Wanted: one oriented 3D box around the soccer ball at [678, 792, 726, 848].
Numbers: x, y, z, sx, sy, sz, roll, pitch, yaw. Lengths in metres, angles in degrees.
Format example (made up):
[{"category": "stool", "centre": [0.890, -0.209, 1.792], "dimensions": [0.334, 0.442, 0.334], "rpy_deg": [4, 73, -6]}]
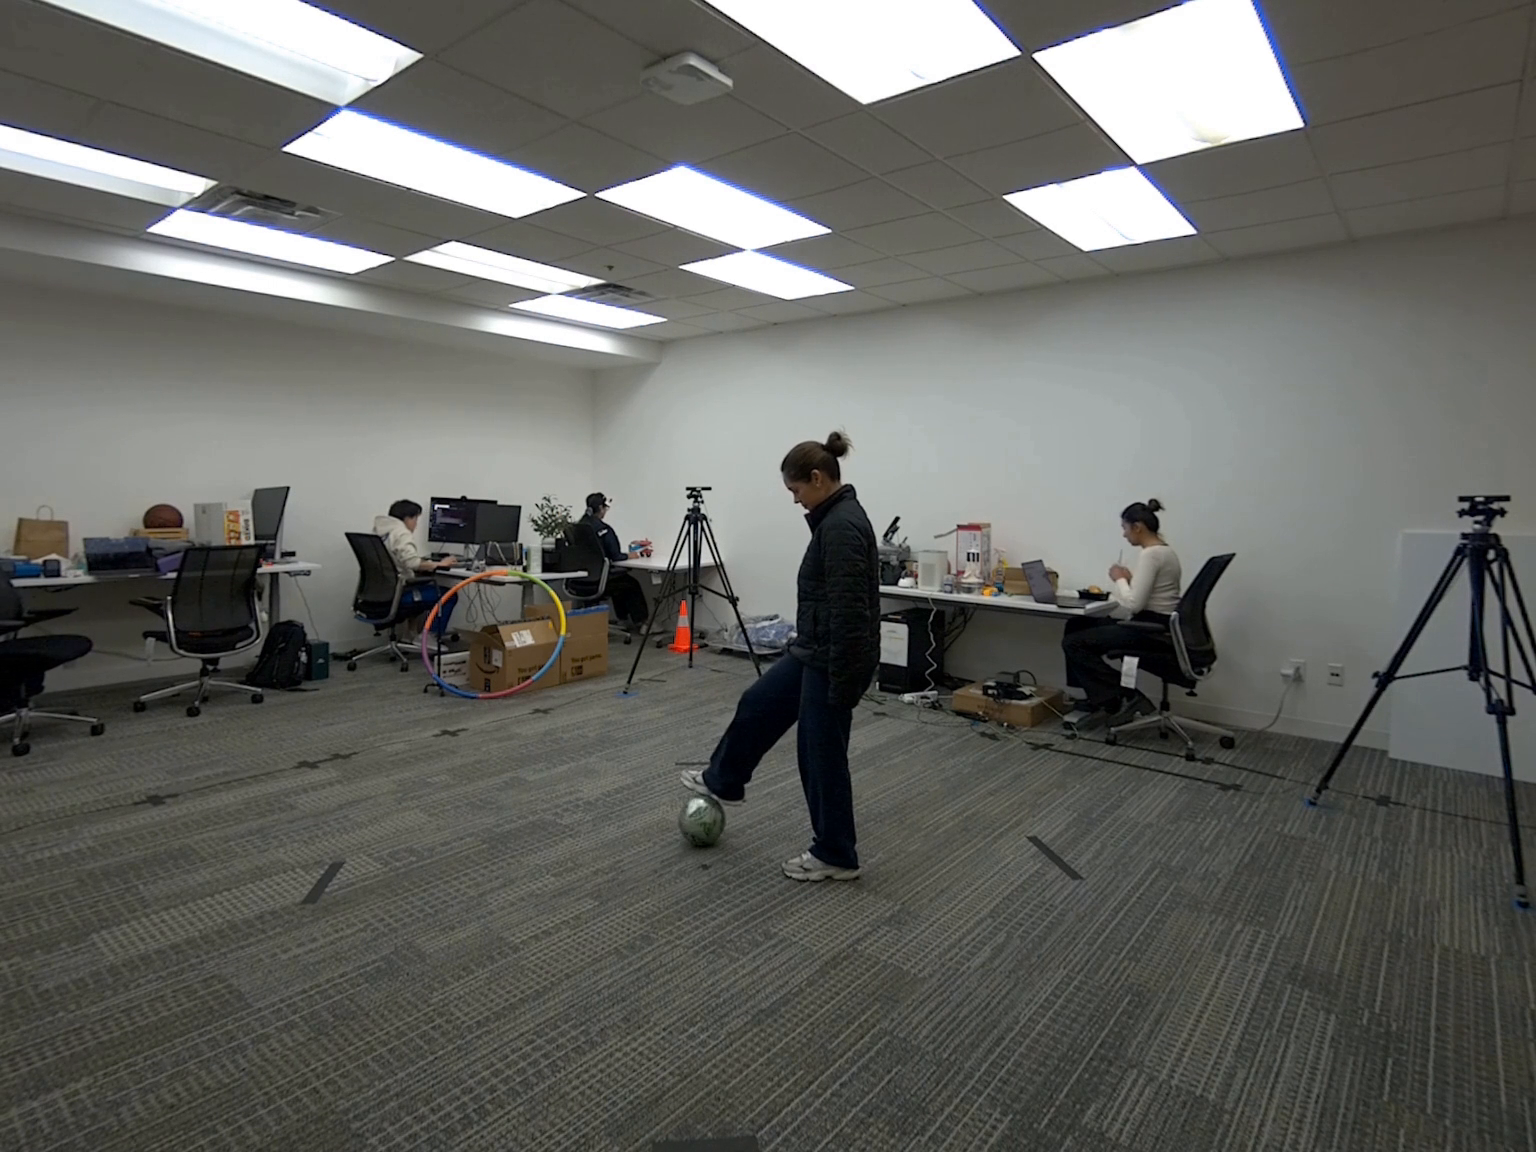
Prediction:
[{"category": "soccer ball", "centre": [-0.256, 0.950, 3.321], "dimensions": [0.187, 0.187, 0.188], "rpy_deg": [1, 4, -2]}]
